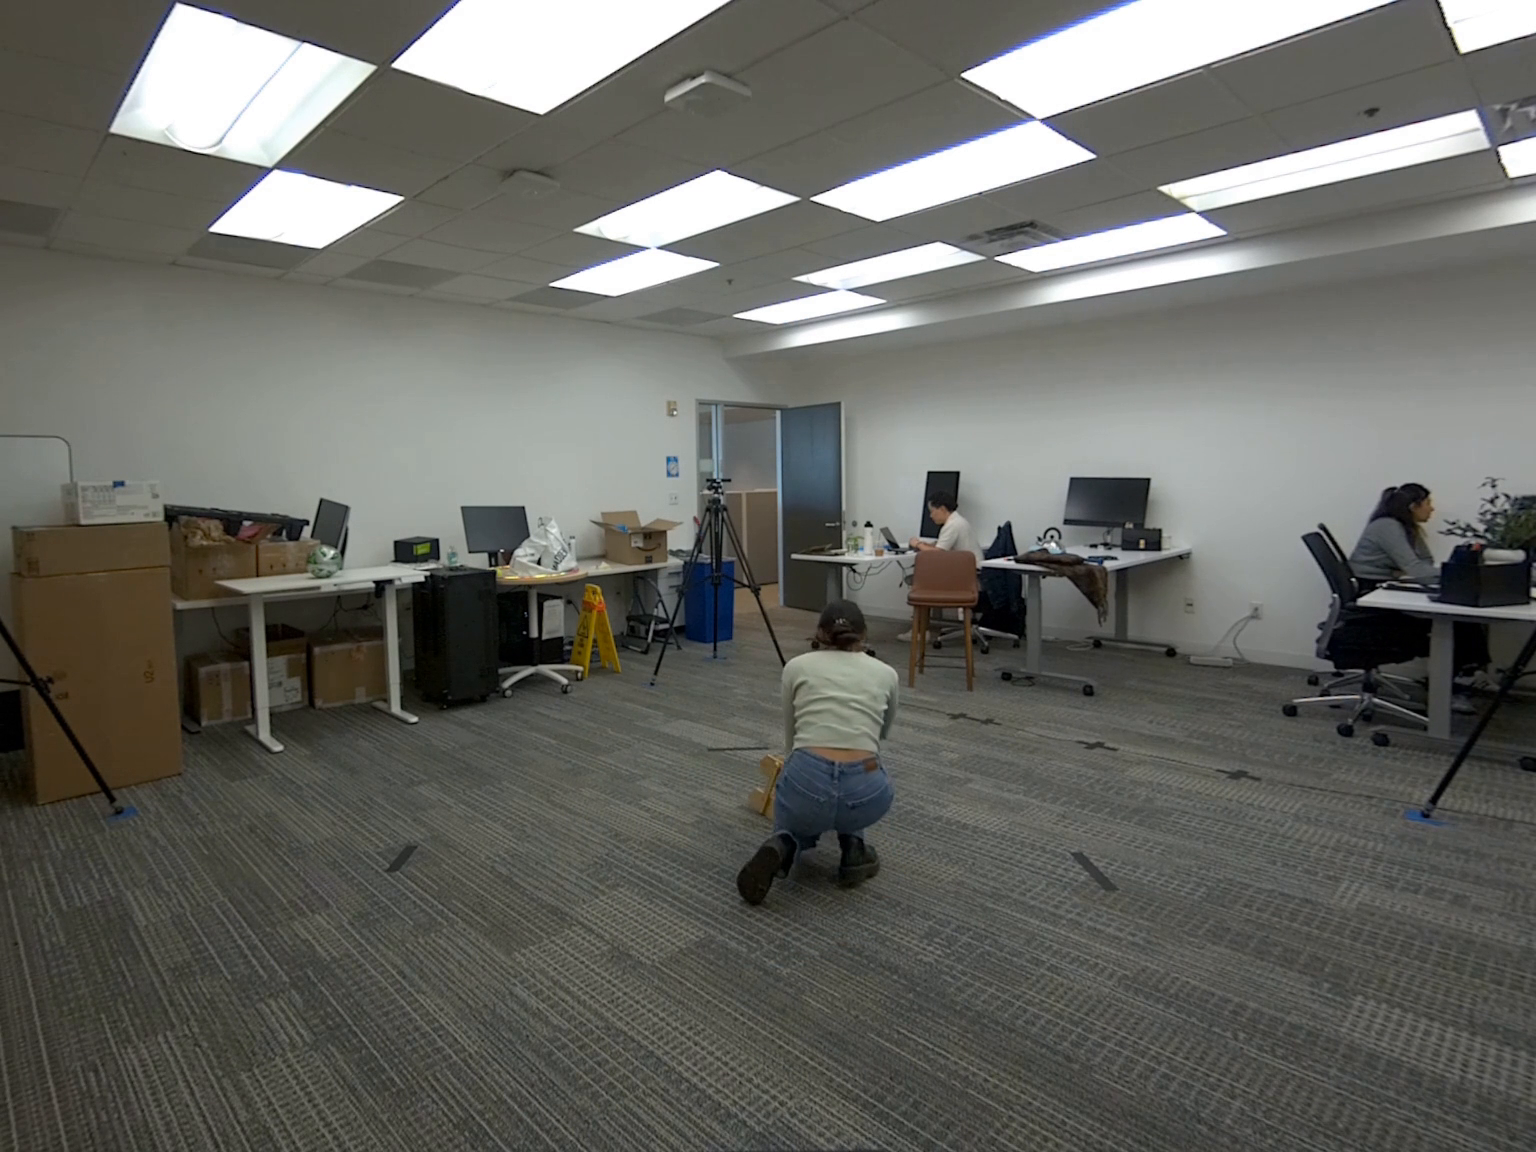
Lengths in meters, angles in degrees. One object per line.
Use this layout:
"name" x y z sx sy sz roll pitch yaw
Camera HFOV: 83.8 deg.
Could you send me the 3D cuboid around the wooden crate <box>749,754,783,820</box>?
"wooden crate" 0.128 0.853 3.596 0.317 0.272 0.311 -5 7 -31
